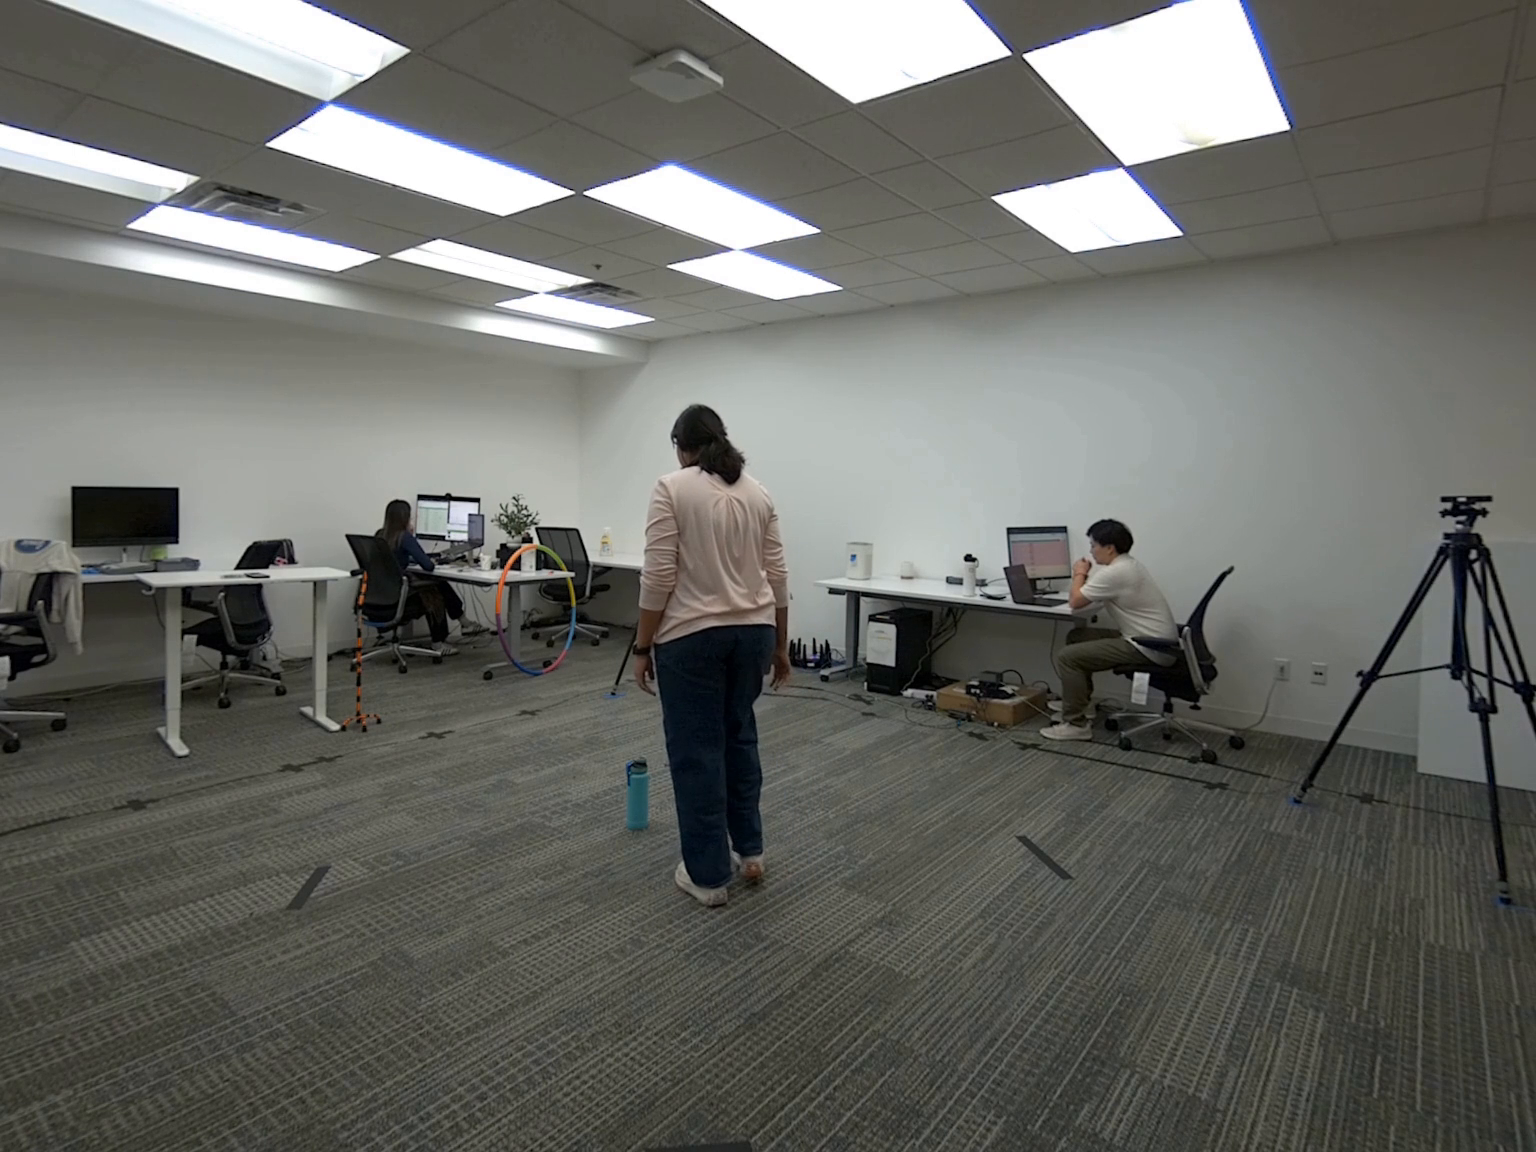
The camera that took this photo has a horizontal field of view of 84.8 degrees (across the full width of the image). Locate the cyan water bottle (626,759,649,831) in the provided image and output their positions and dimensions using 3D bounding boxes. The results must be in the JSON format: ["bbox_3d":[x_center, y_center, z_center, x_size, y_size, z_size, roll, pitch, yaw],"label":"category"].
[{"bbox_3d":[-0.550,0.885,3.487,0.092,0.282,0.093,-1,4,-2],"label":"cyan water bottle"}]
